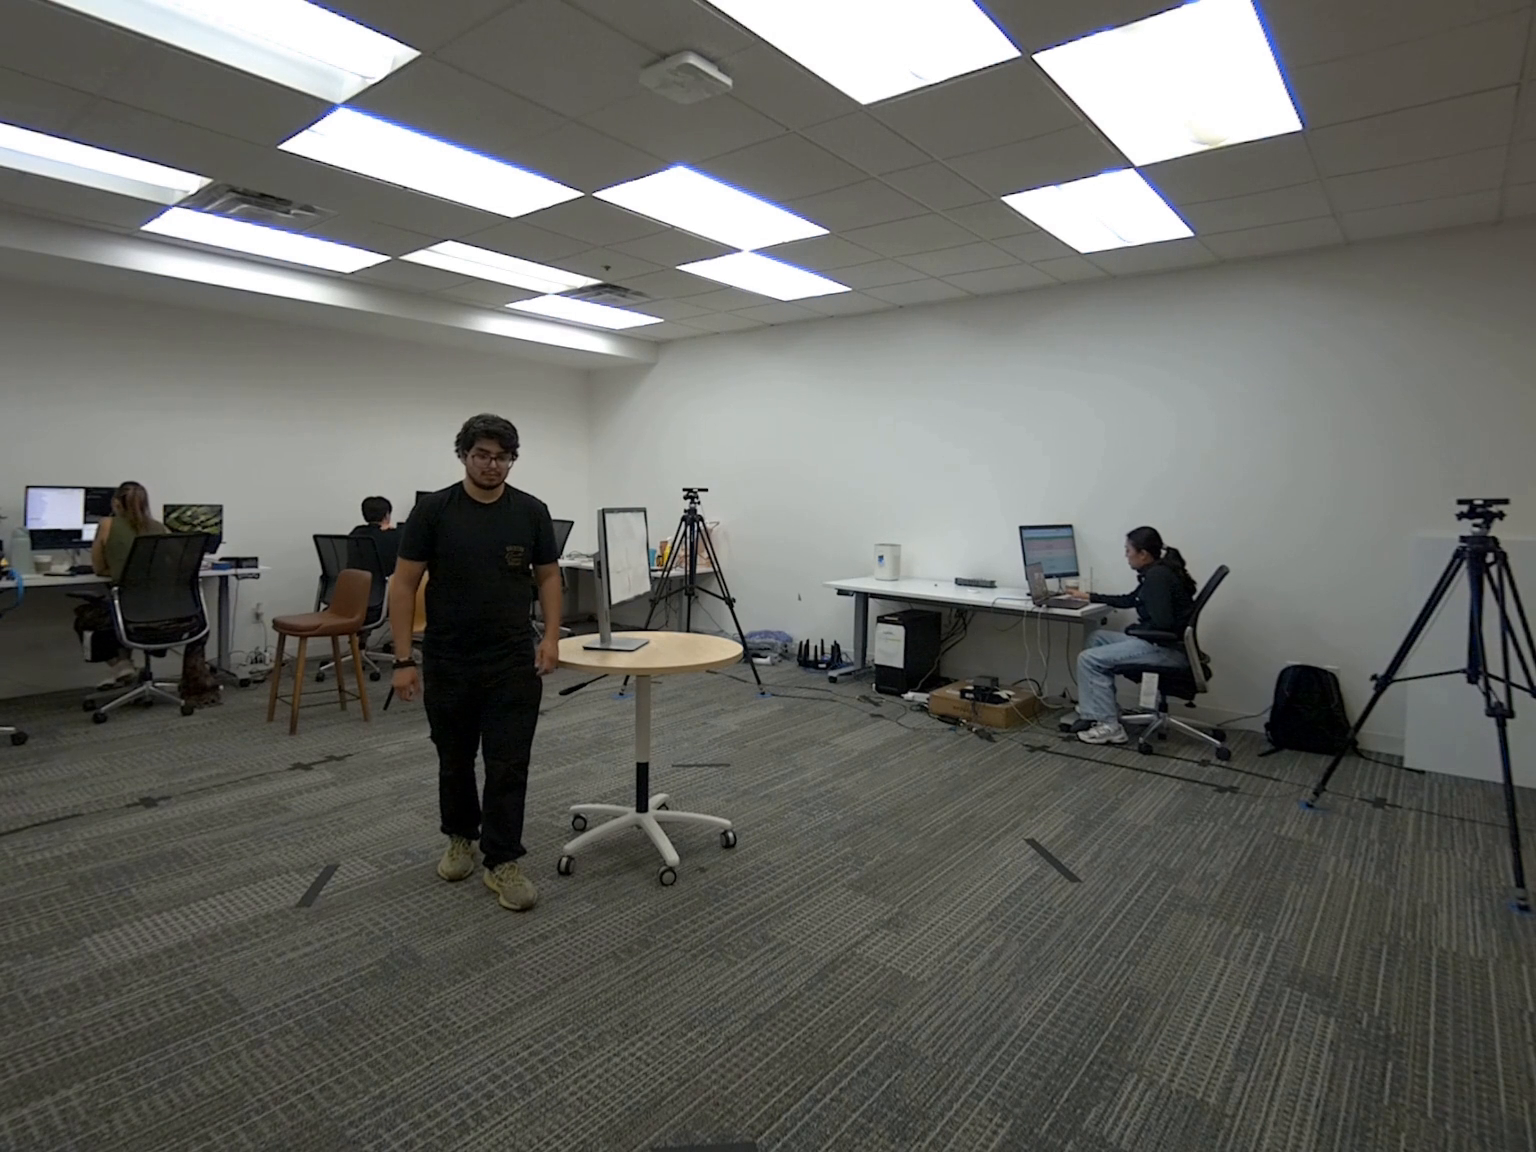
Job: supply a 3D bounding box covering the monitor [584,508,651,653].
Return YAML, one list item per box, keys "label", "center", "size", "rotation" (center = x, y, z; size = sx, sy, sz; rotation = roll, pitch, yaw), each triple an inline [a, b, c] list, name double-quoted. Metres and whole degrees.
- label: "monitor"
  center: [-0.620, 0.006, 3.302]
  size: [0.212, 0.553, 0.561]
  rotation: [-2, 3, 9]
